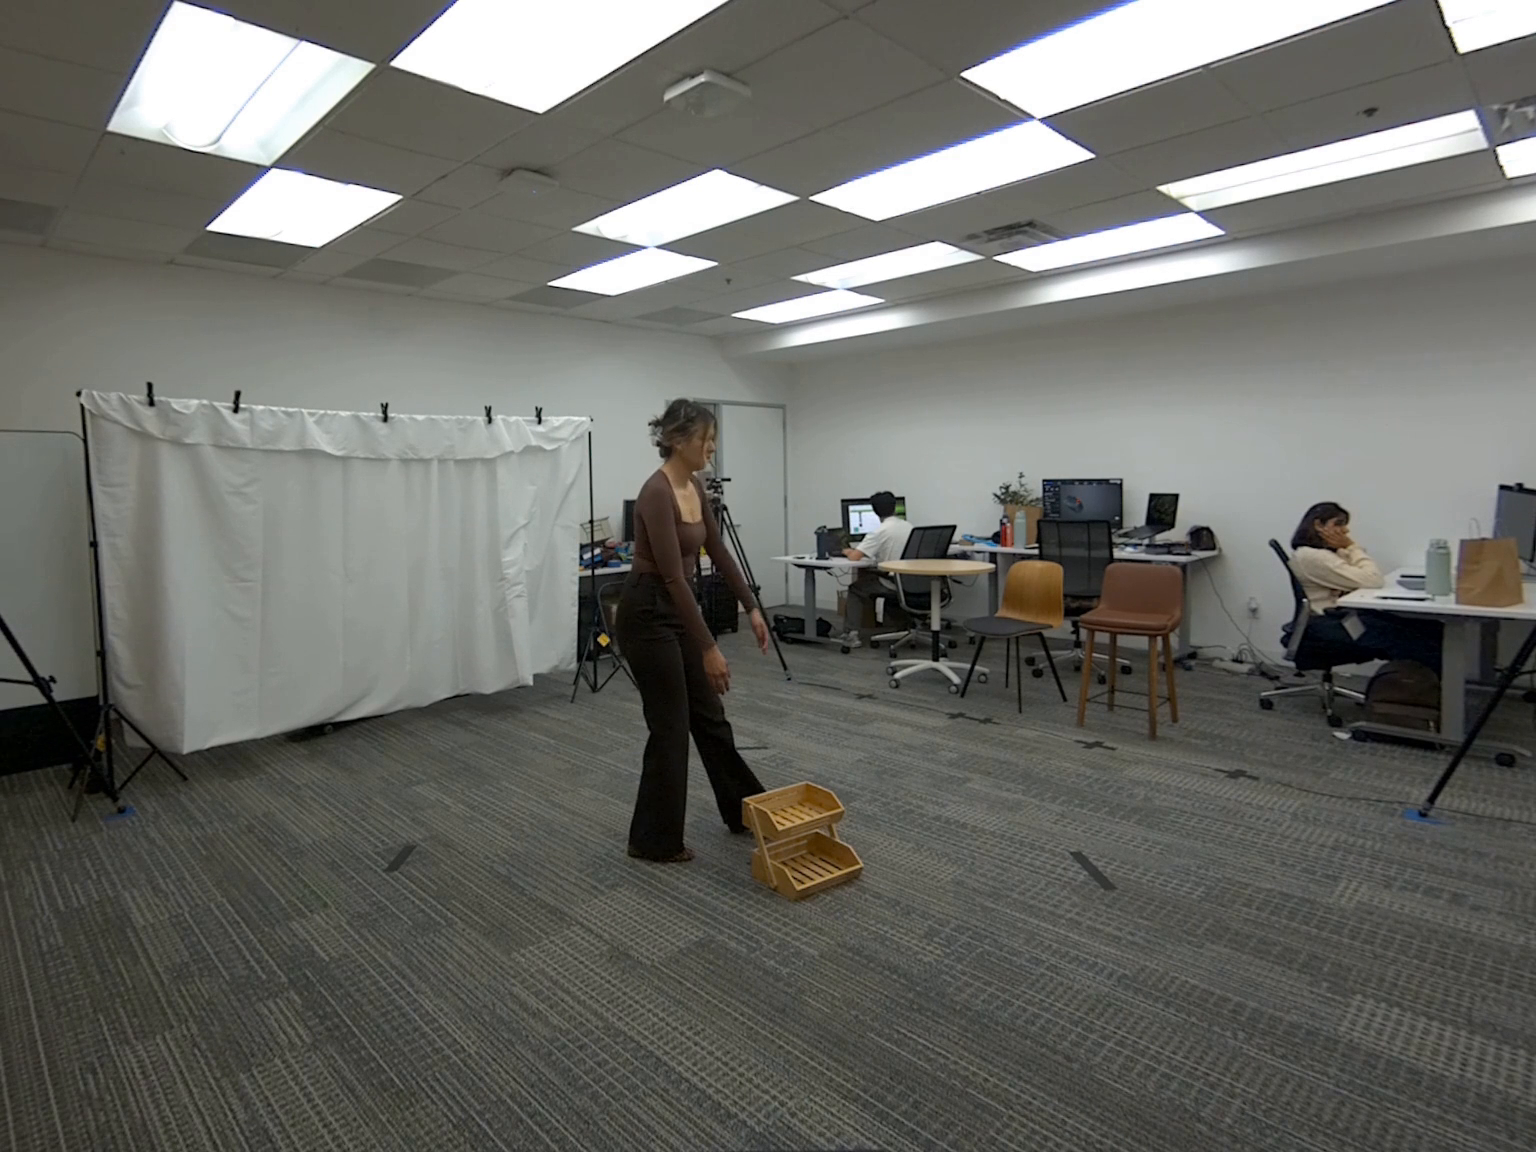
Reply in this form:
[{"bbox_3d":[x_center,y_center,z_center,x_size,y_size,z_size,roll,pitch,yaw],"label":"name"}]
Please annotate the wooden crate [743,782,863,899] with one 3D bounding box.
[{"bbox_3d":[0.126,0.919,2.999,0.316,0.272,0.311,-4,6,-36],"label":"wooden crate"}]
